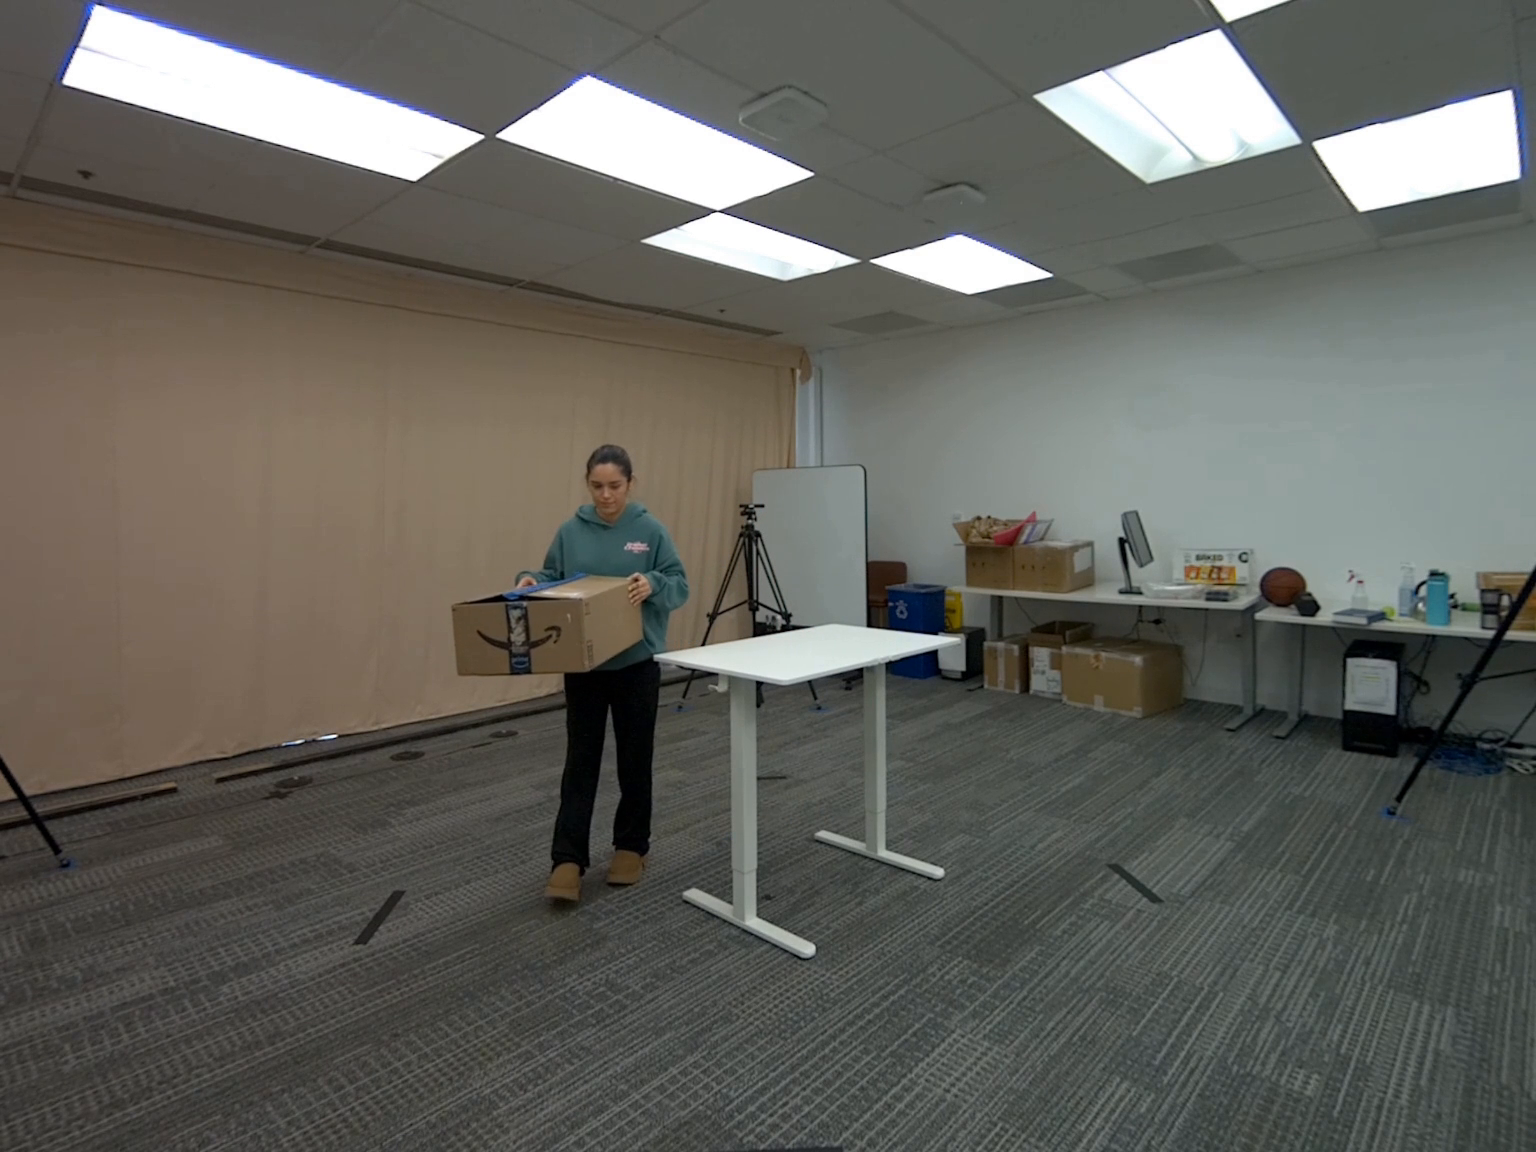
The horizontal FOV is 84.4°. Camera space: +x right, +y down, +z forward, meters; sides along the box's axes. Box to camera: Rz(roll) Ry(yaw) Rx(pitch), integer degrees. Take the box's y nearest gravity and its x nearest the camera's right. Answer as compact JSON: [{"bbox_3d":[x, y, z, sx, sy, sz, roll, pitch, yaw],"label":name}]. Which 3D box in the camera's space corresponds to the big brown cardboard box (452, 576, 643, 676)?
[{"bbox_3d":[-0.688,0.147,2.727,0.423,0.232,0.583,-2,4,10],"label":"big brown cardboard box"}]
